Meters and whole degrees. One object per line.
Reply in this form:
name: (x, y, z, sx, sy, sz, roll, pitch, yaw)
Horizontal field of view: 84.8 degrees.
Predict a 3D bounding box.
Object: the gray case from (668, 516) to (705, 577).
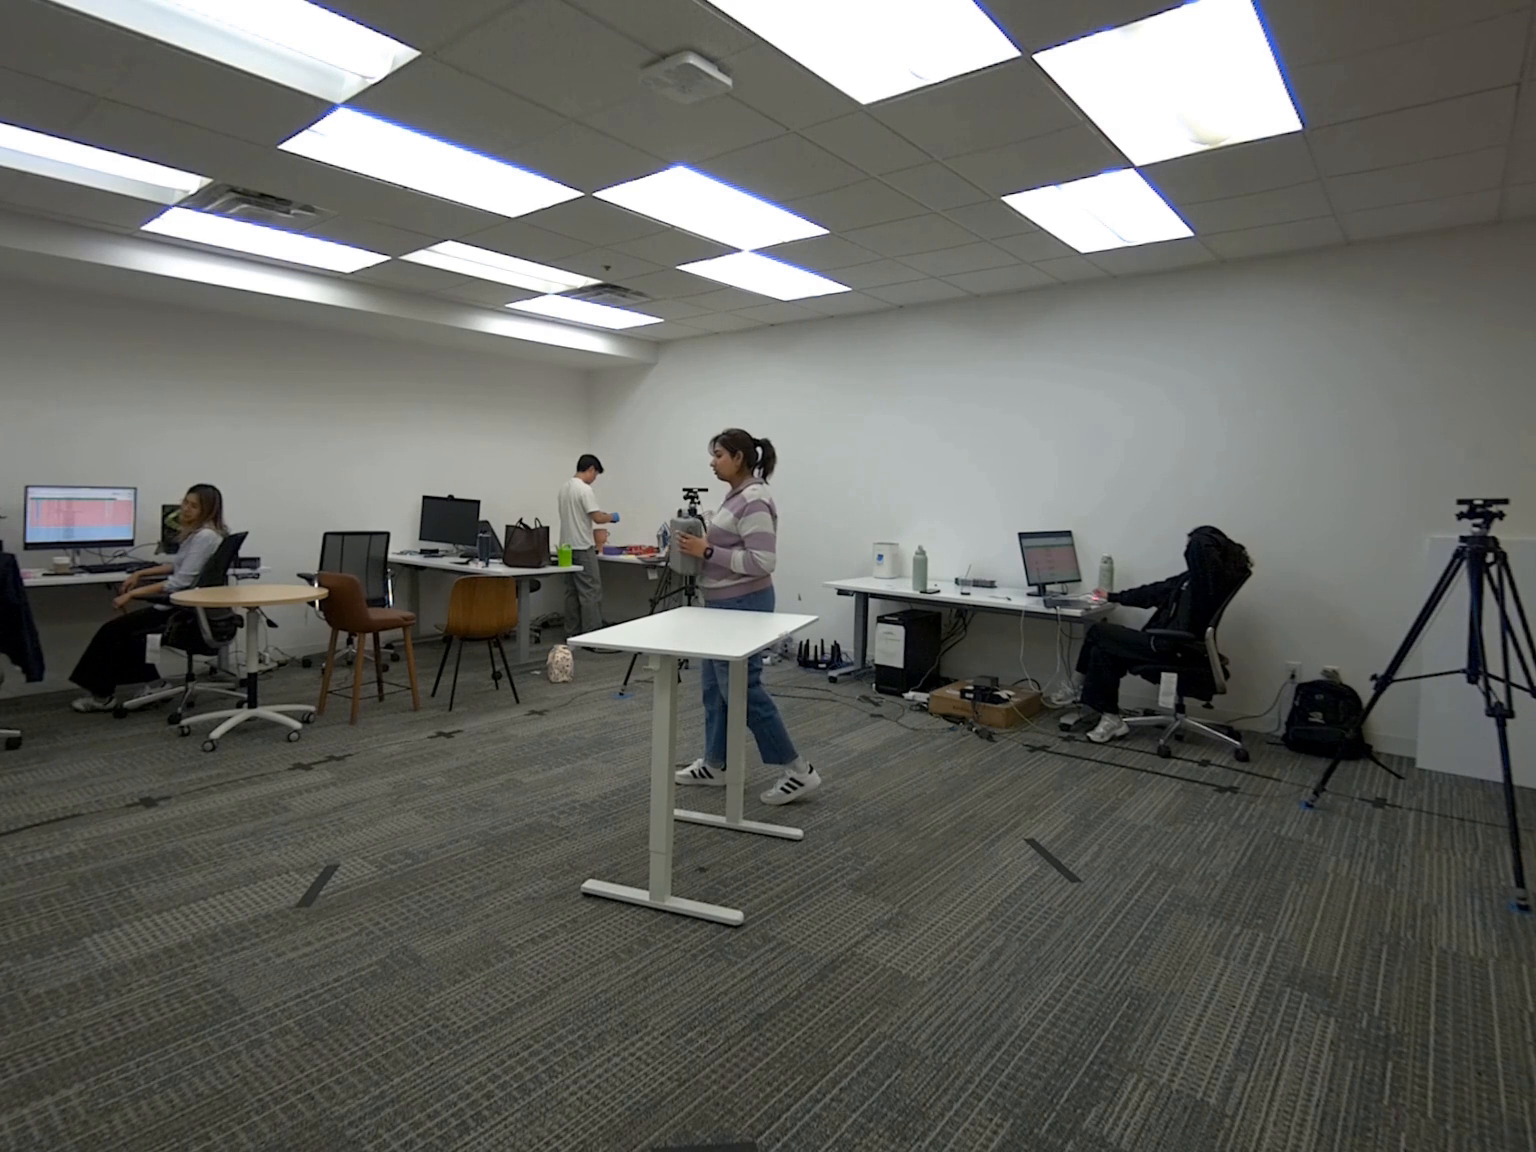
gray case: (-0.386, -0.146, 3.874, 0.102, 0.259, 0.263, -3, 6, -18)
